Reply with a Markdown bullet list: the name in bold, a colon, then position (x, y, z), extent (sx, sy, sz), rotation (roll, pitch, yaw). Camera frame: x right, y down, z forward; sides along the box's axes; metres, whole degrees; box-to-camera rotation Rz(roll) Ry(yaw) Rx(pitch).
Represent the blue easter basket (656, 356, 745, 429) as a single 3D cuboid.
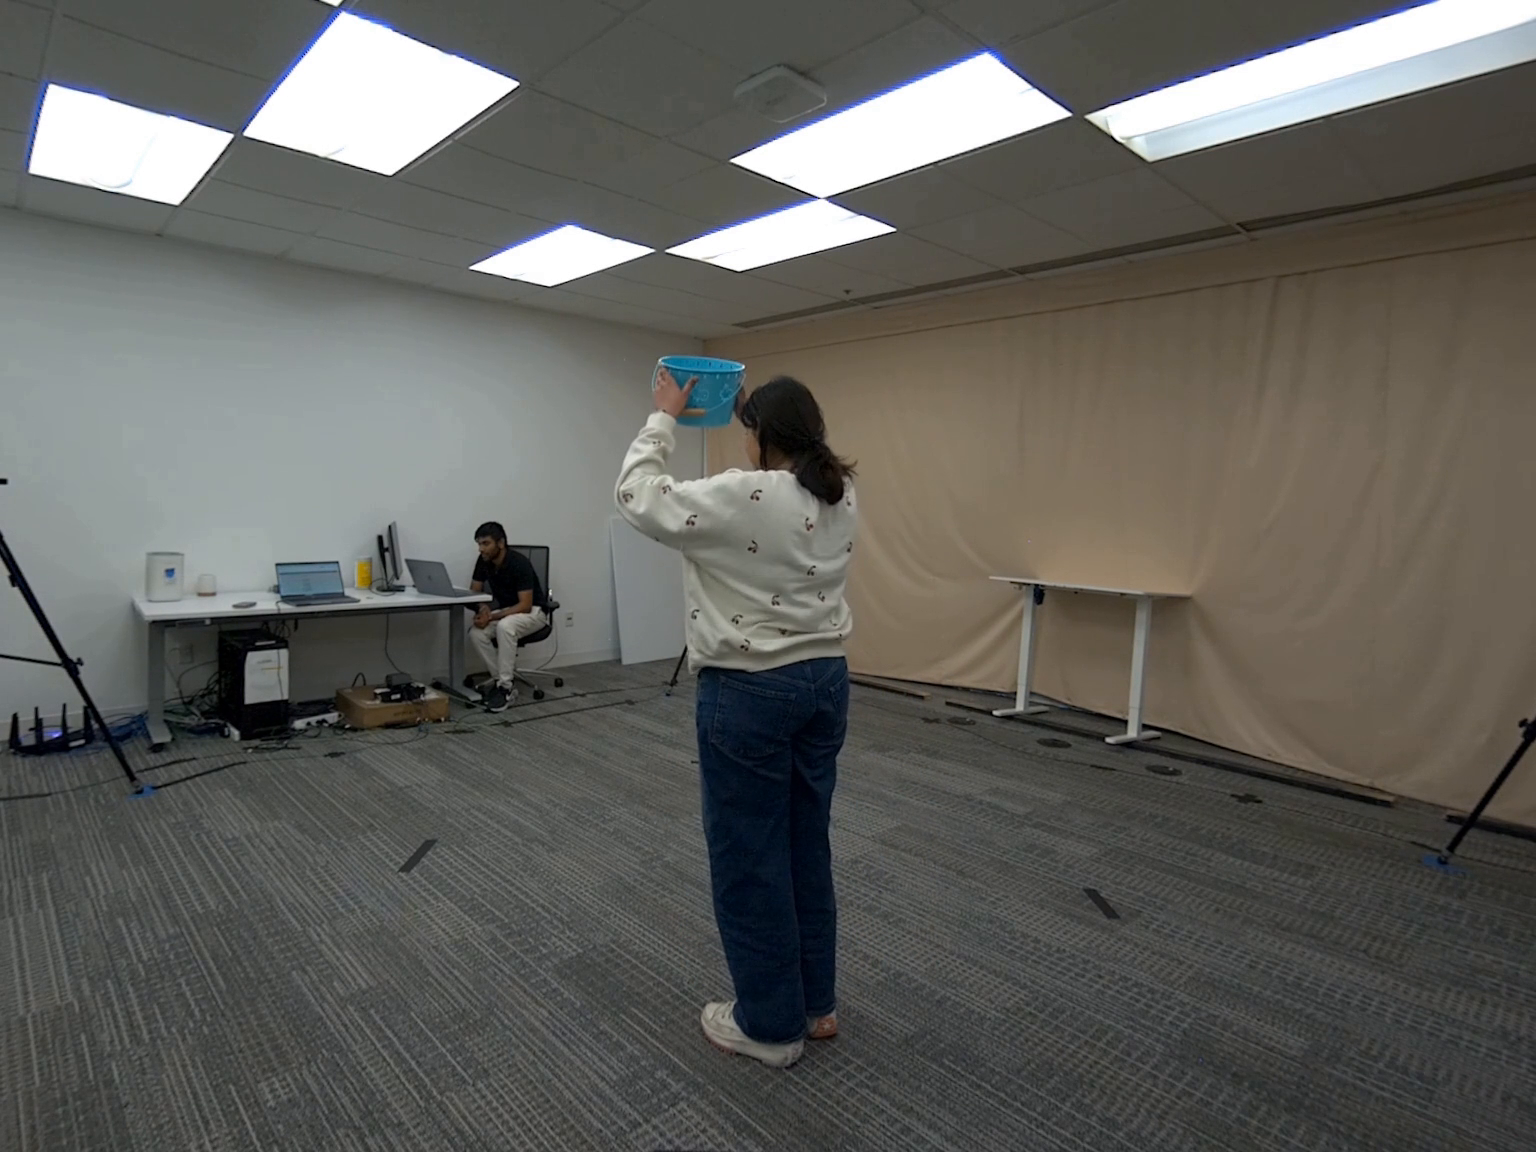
- **blue easter basket**: position (-0.193, -0.491, 2.247), extent (0.243, 0.154, 0.247), rotation (3, 22, -3)
